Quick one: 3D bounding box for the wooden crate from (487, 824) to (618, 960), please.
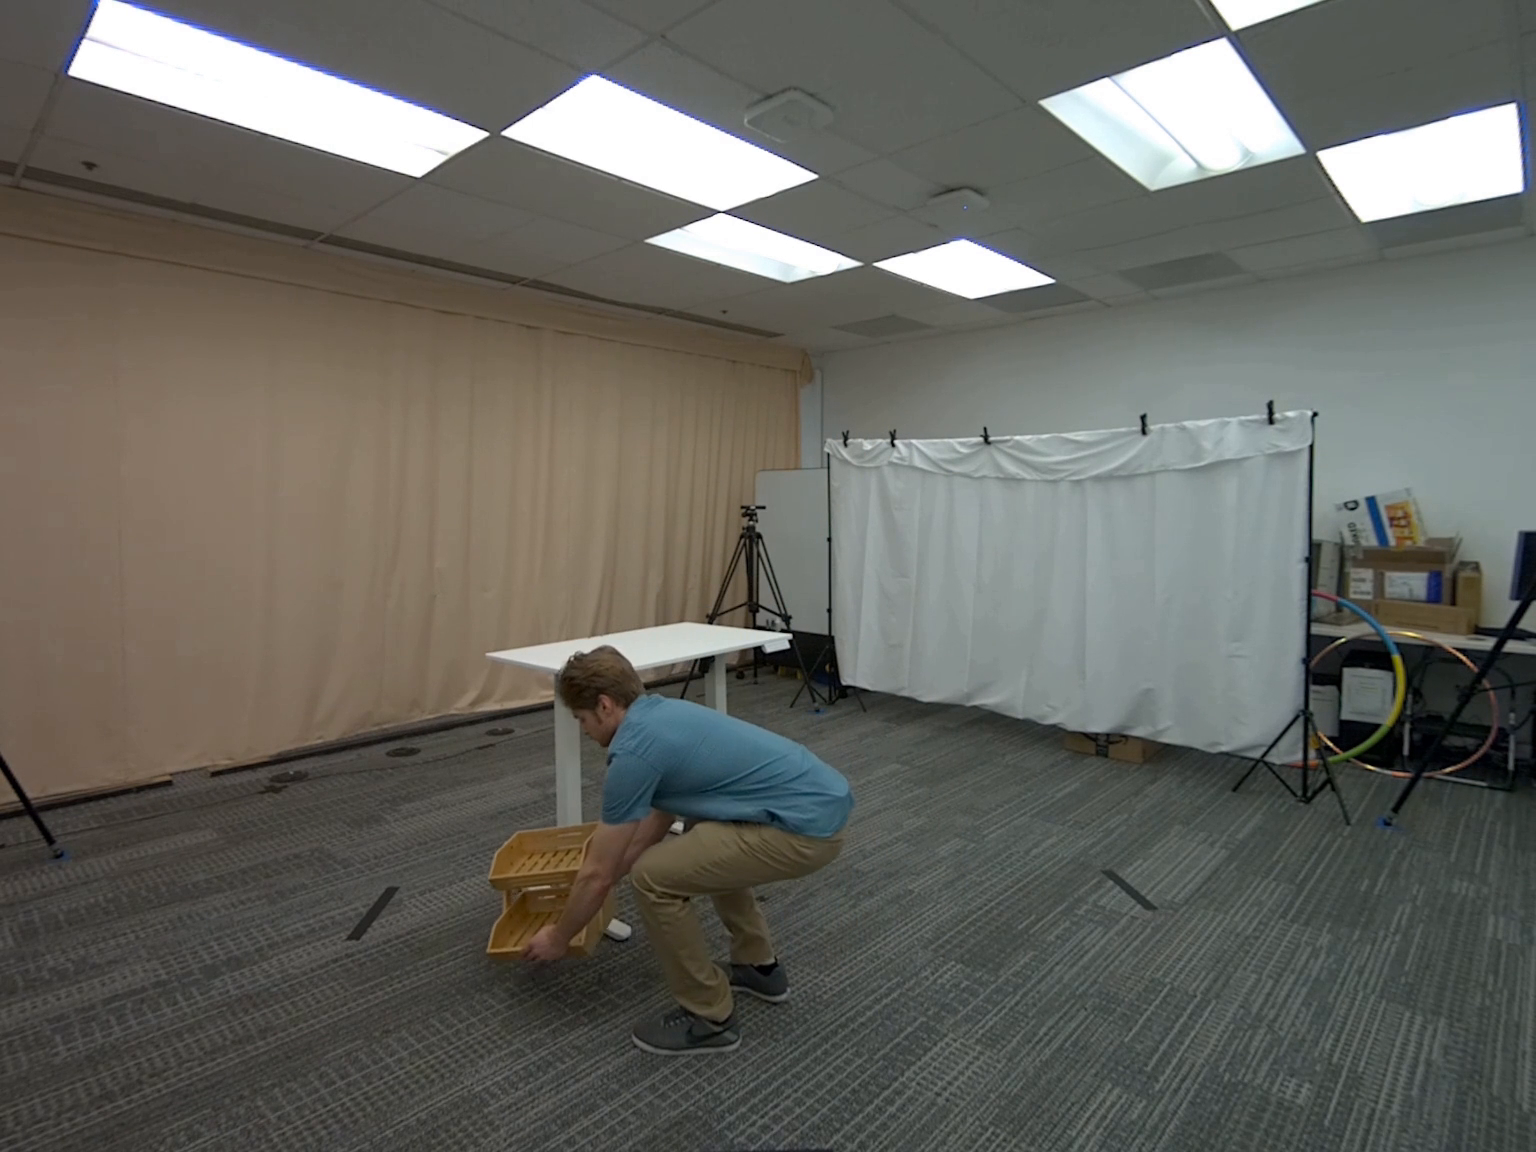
[{"bbox_3d":[-0.640,0.925,2.461,0.329,0.272,0.299,-10,5,14],"label":"wooden crate"}]
